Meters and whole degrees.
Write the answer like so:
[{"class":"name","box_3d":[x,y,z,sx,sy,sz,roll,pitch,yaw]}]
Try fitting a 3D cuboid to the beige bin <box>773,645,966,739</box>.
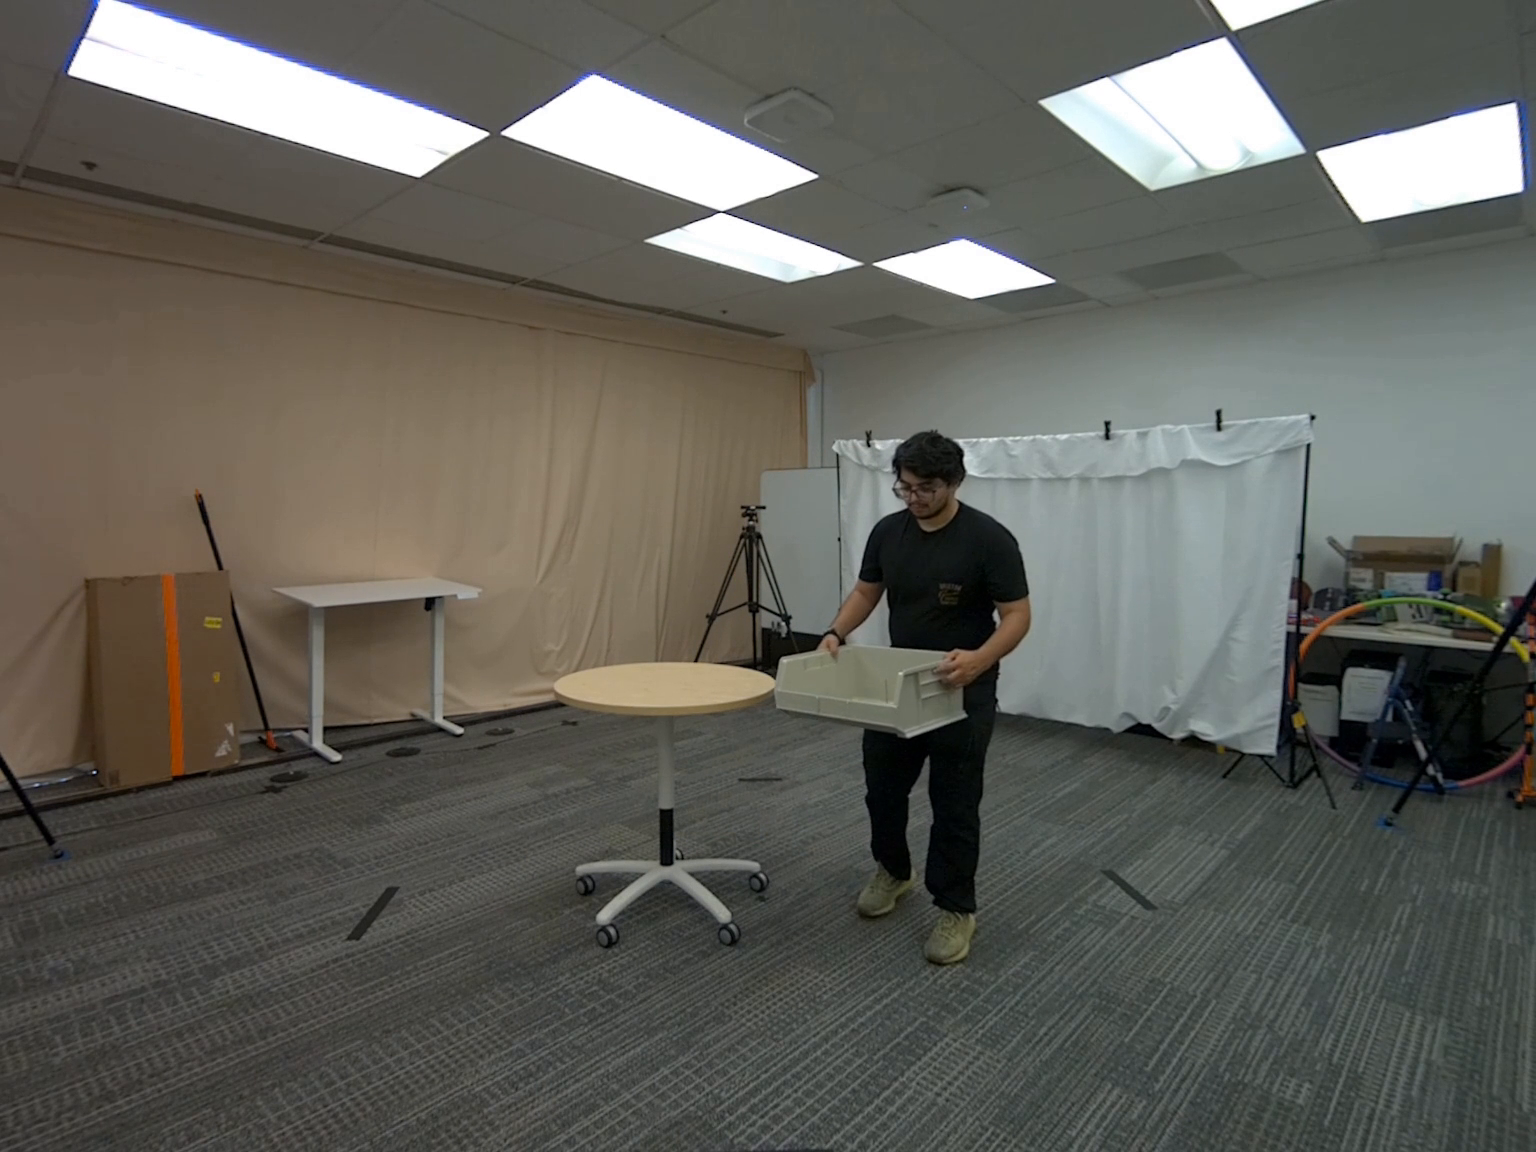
[{"class":"beige bin","box_3d":[0.293,0.325,2.432,0.436,0.189,0.365,0,2,44]}]
